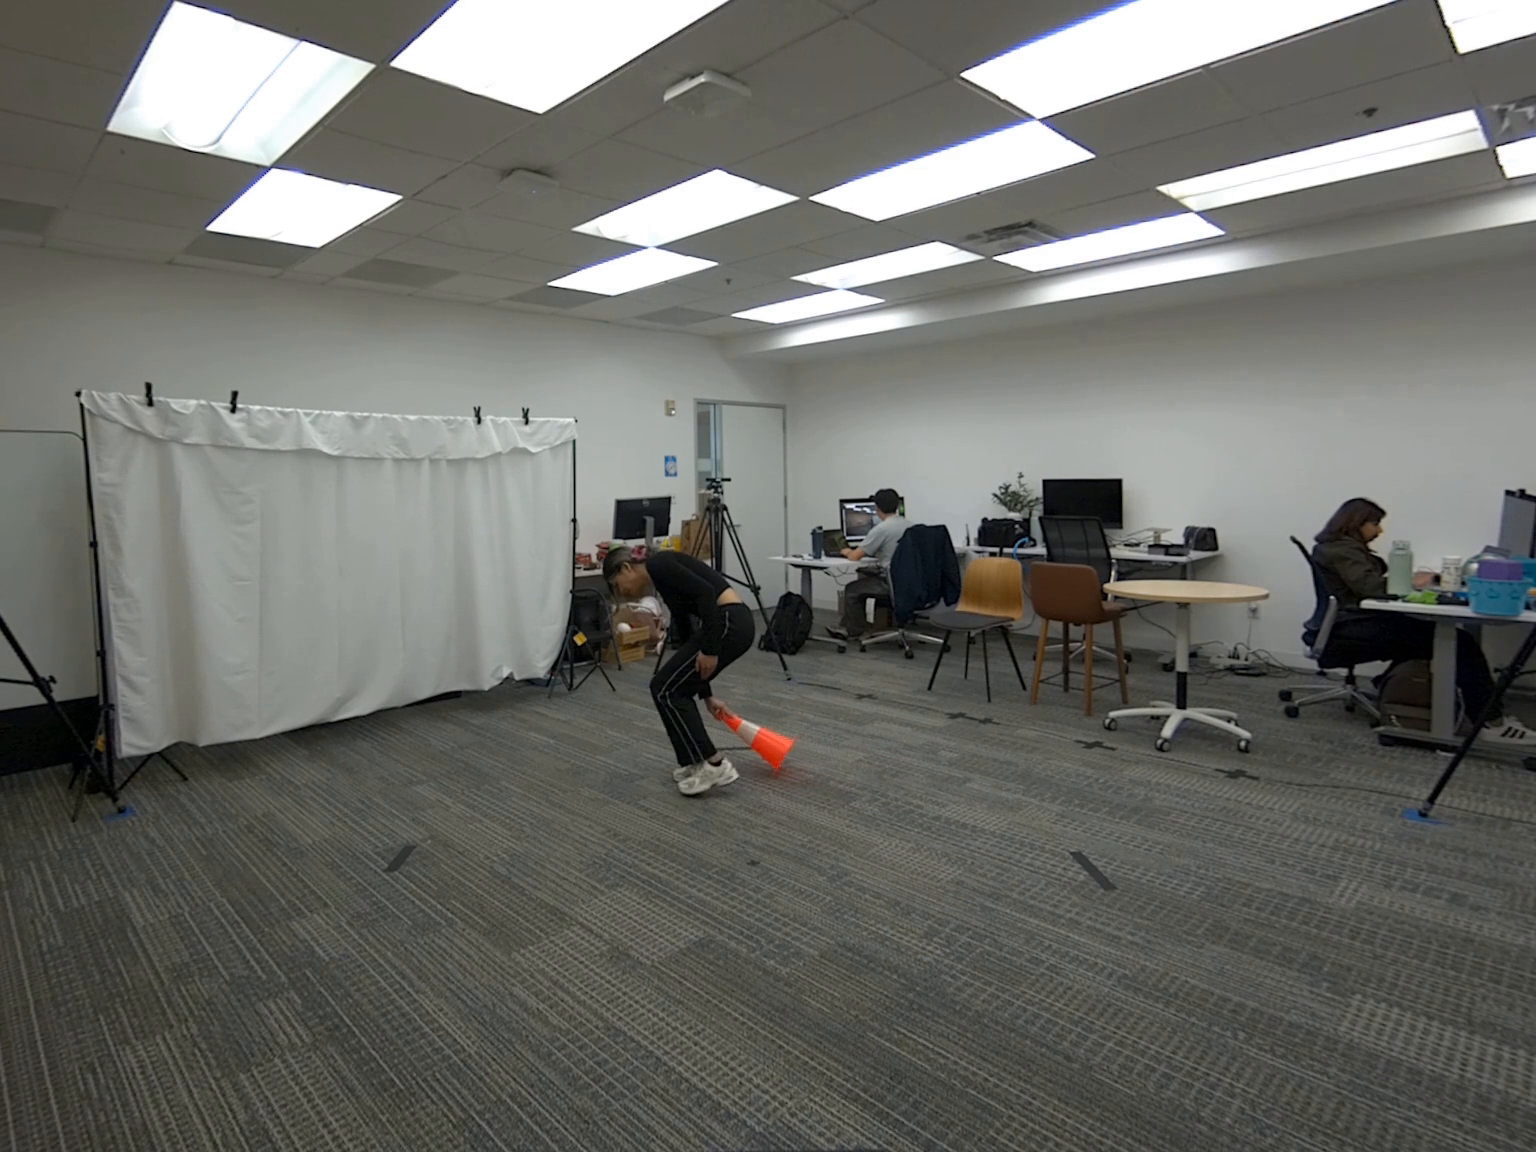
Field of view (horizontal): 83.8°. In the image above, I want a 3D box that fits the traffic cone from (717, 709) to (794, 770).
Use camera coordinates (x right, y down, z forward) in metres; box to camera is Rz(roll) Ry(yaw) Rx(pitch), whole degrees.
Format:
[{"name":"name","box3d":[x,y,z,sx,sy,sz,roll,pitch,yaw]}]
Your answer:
[{"name":"traffic cone","box3d":[-0.079,0.750,4.080,0.389,0.202,0.203,32,17,10]}]
